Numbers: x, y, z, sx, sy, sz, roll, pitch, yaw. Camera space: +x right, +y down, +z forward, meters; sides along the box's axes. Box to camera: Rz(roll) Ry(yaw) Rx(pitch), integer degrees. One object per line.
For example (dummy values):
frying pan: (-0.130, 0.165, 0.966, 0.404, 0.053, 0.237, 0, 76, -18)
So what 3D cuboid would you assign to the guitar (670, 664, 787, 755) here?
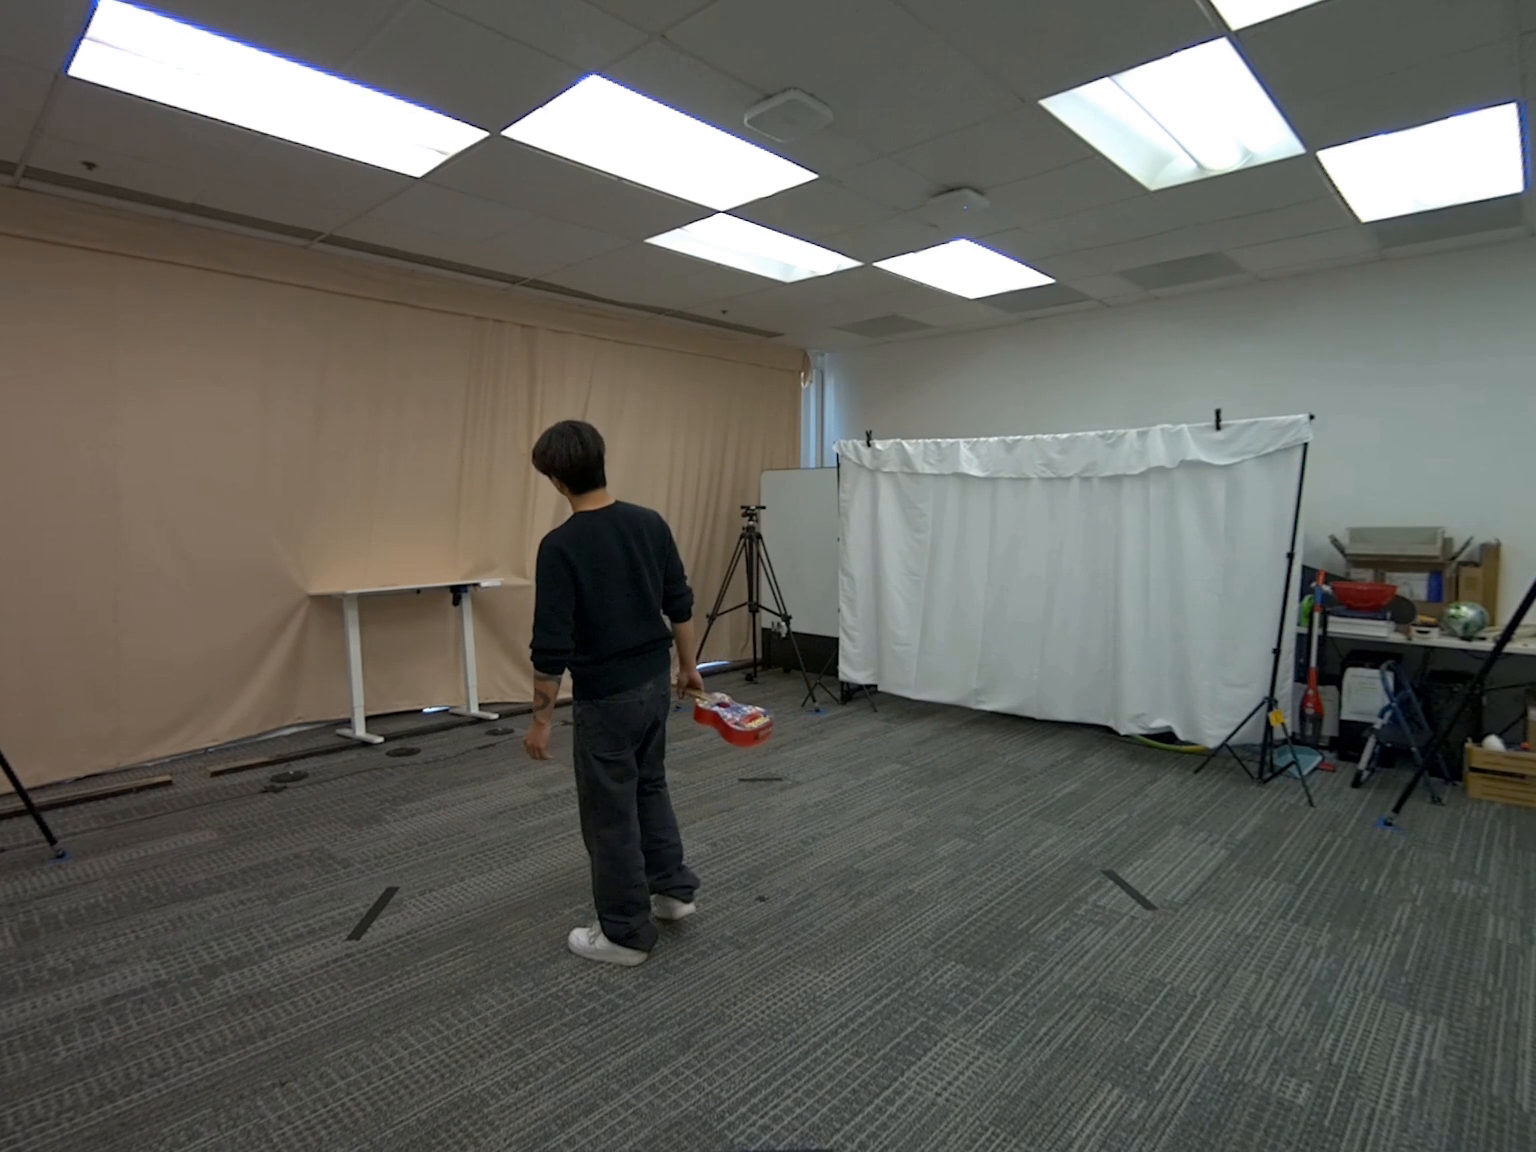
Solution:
guitar: (-0.193, 0.435, 2.847, 0.516, 0.070, 0.187, 22, 20, 40)
